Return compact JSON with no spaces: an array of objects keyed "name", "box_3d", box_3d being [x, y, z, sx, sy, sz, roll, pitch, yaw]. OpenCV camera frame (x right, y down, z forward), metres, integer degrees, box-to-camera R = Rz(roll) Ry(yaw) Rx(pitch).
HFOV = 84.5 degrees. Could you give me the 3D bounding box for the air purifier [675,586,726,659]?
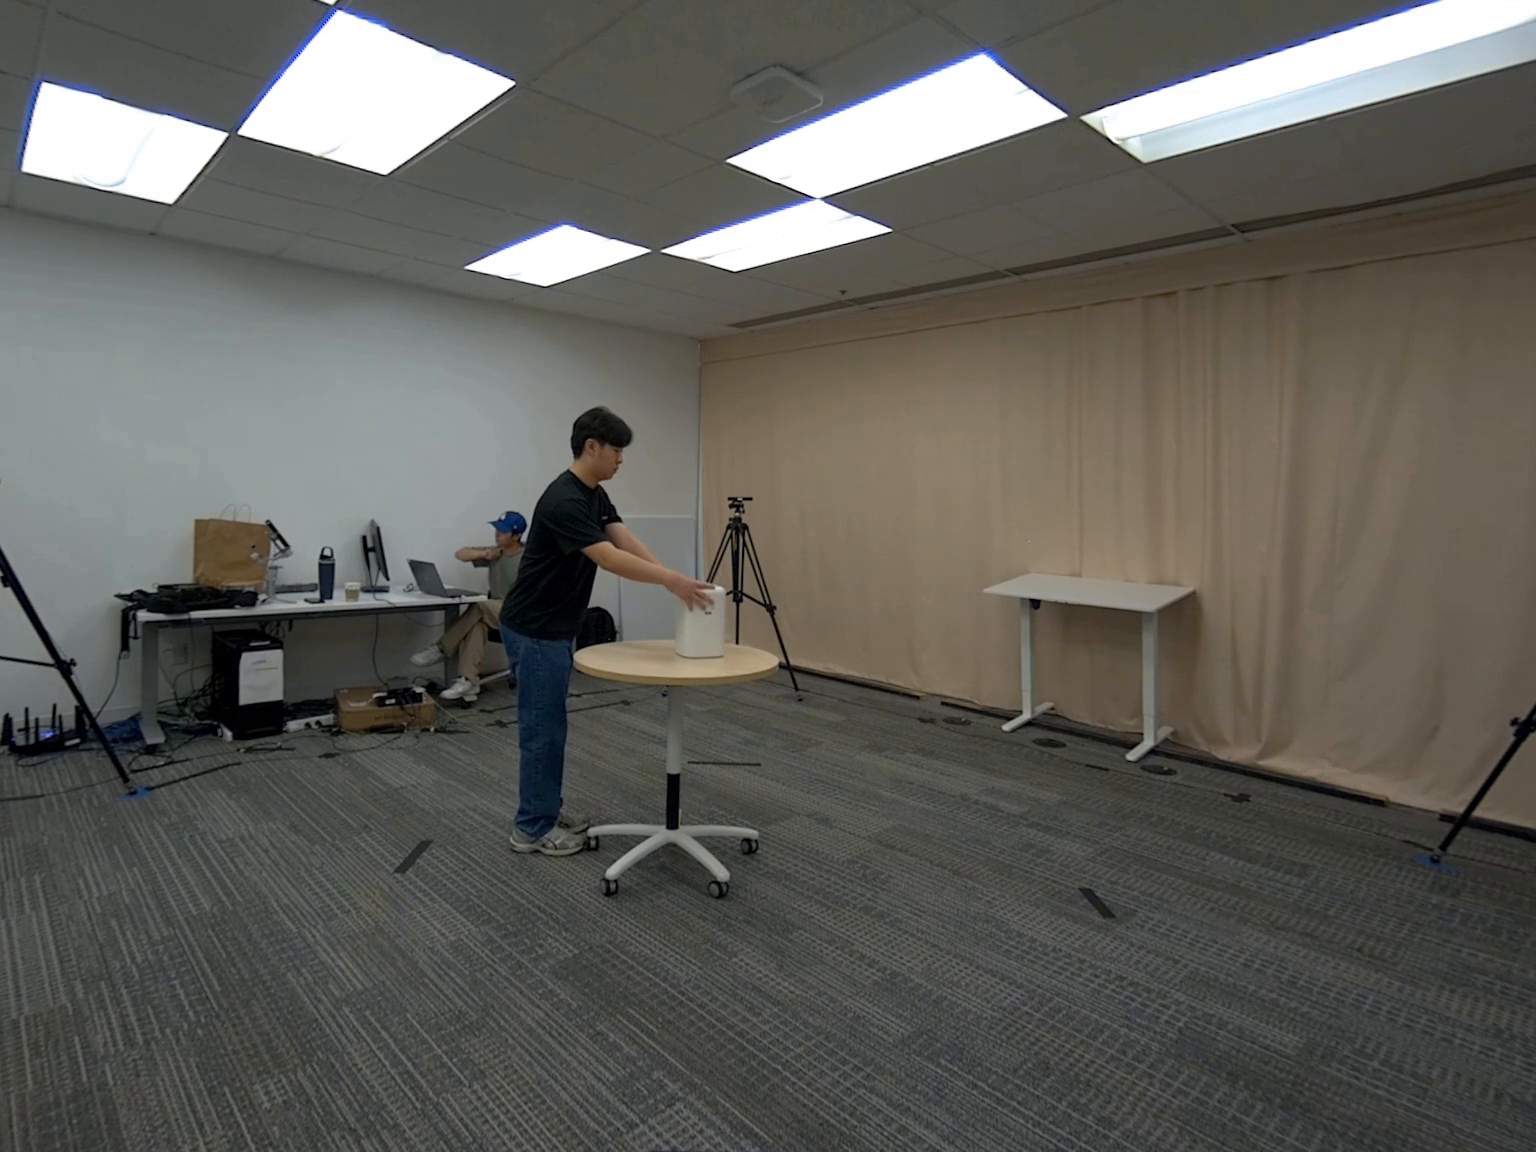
[{"name":"air purifier","box_3d":[-0.267,0.166,3.214,0.168,0.265,0.174,2,3,-19]}]
